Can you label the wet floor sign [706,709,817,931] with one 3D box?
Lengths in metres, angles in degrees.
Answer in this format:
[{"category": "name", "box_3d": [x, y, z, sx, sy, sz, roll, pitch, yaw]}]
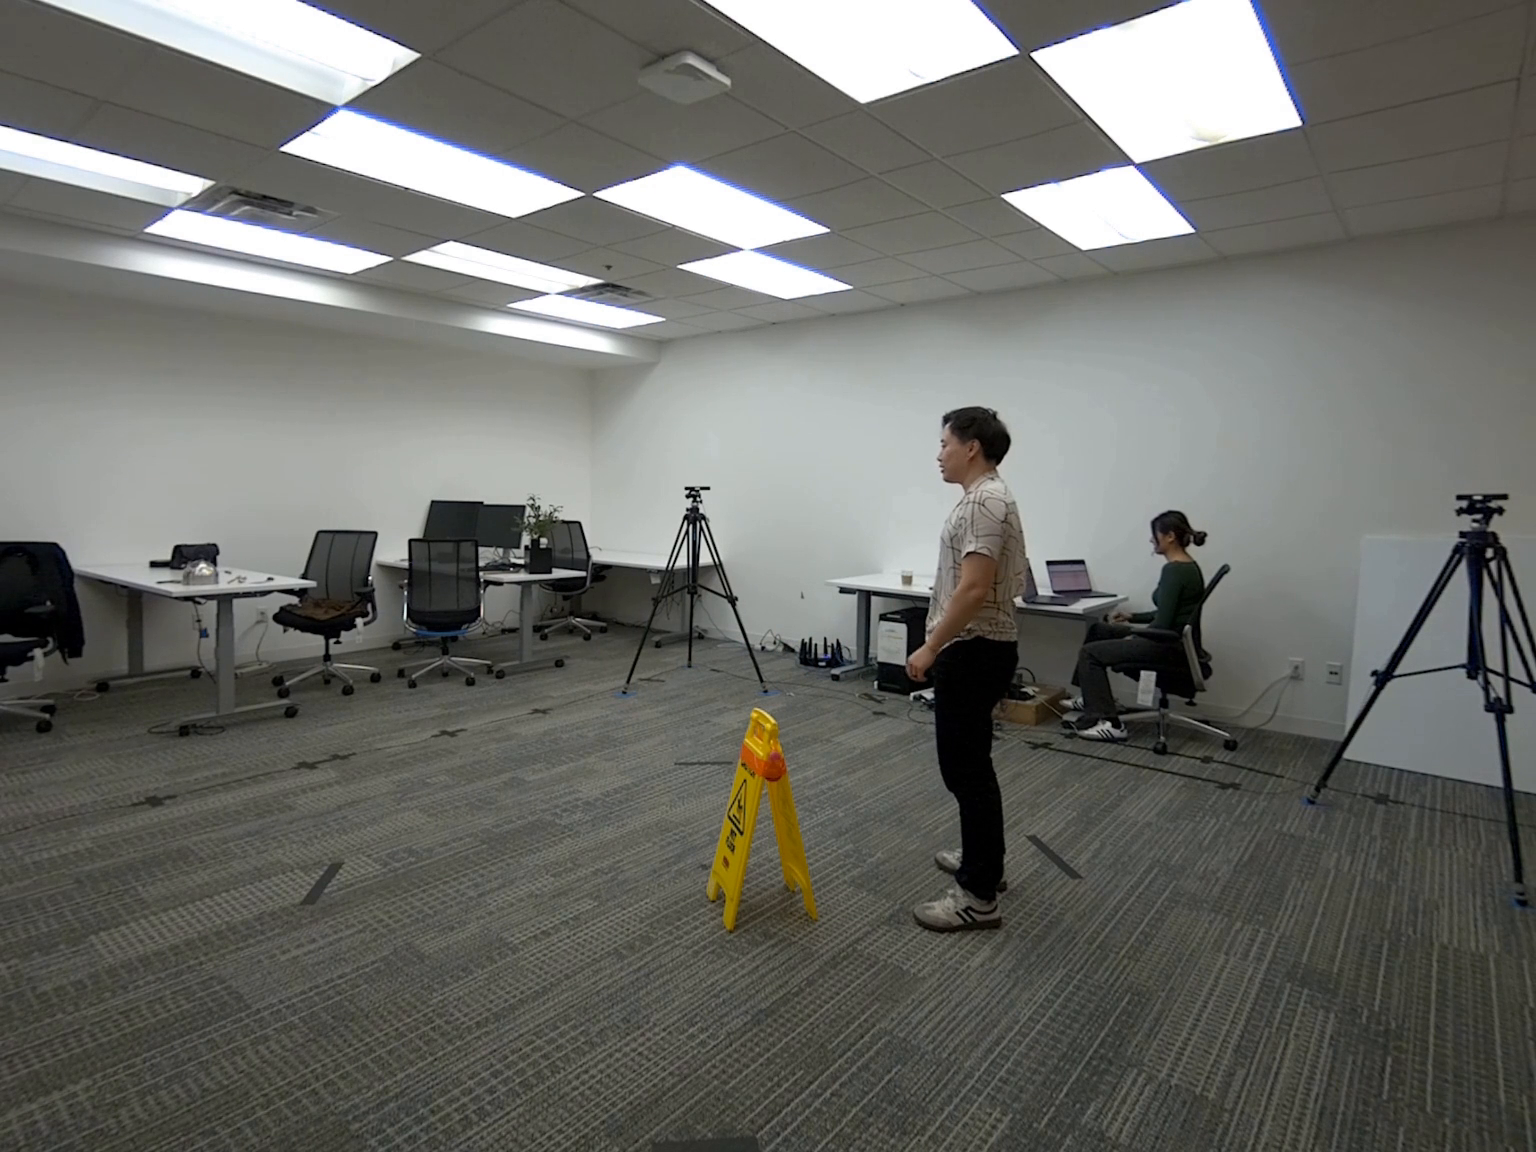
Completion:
[{"category": "wet floor sign", "box_3d": [-0.027, 0.770, 2.821, 0.284, 0.644, 0.288, 0, 3, -18]}]
